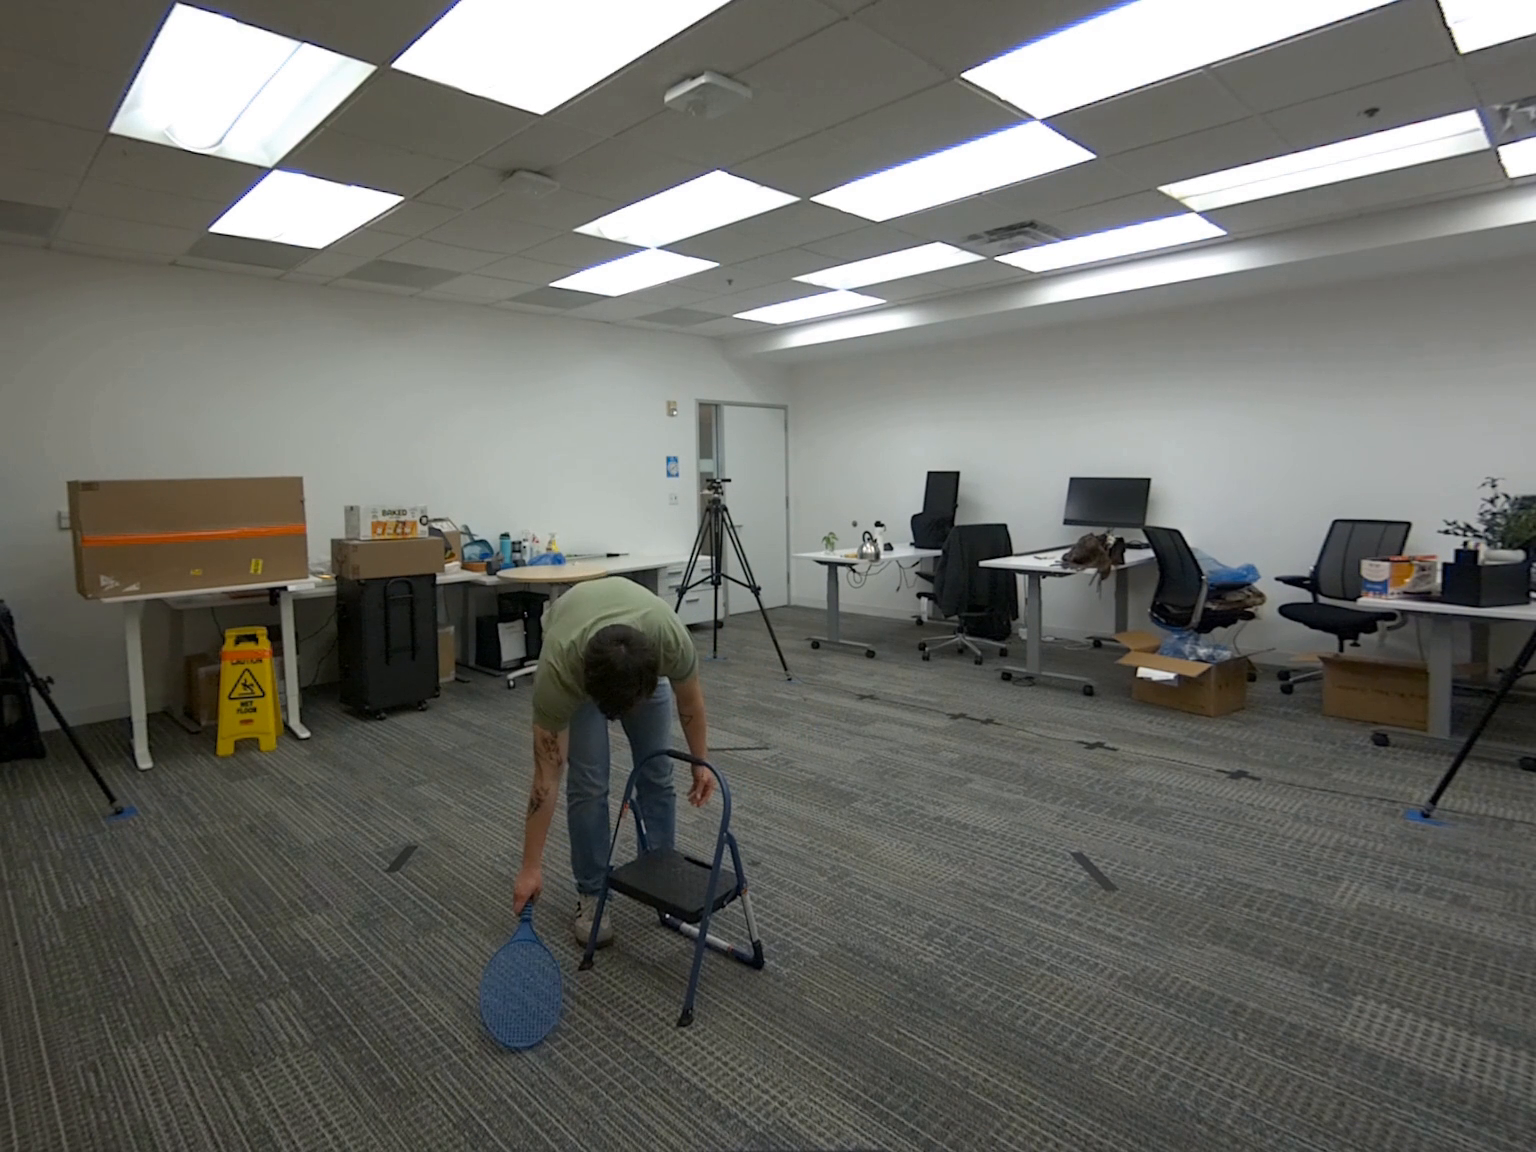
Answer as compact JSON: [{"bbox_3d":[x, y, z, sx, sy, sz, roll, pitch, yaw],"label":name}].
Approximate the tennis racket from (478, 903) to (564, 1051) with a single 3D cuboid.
[{"bbox_3d":[-0.634,1.029,2.275,0.211,0.031,0.446,4,40,-12],"label":"tennis racket"}]
